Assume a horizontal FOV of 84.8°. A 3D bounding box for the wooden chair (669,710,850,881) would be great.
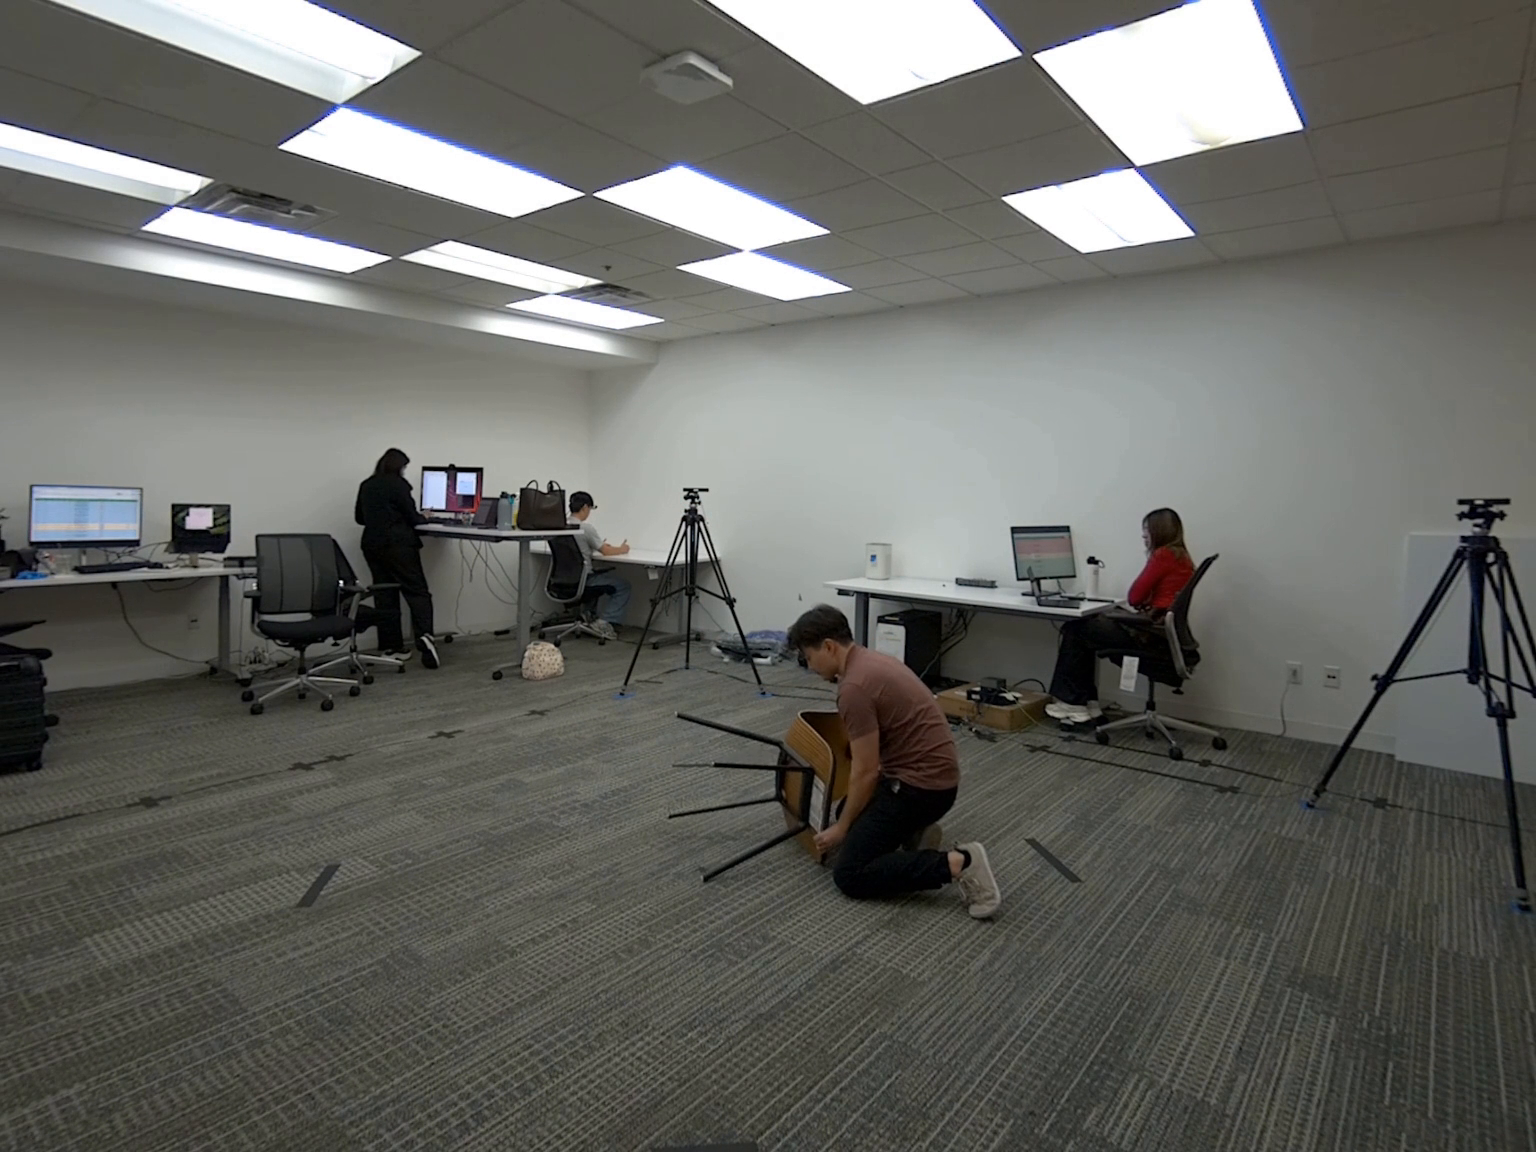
[{"bbox_3d":[0.086,0.813,3.316,0.857,0.474,0.540,-2,12,-25],"label":"wooden chair"}]
